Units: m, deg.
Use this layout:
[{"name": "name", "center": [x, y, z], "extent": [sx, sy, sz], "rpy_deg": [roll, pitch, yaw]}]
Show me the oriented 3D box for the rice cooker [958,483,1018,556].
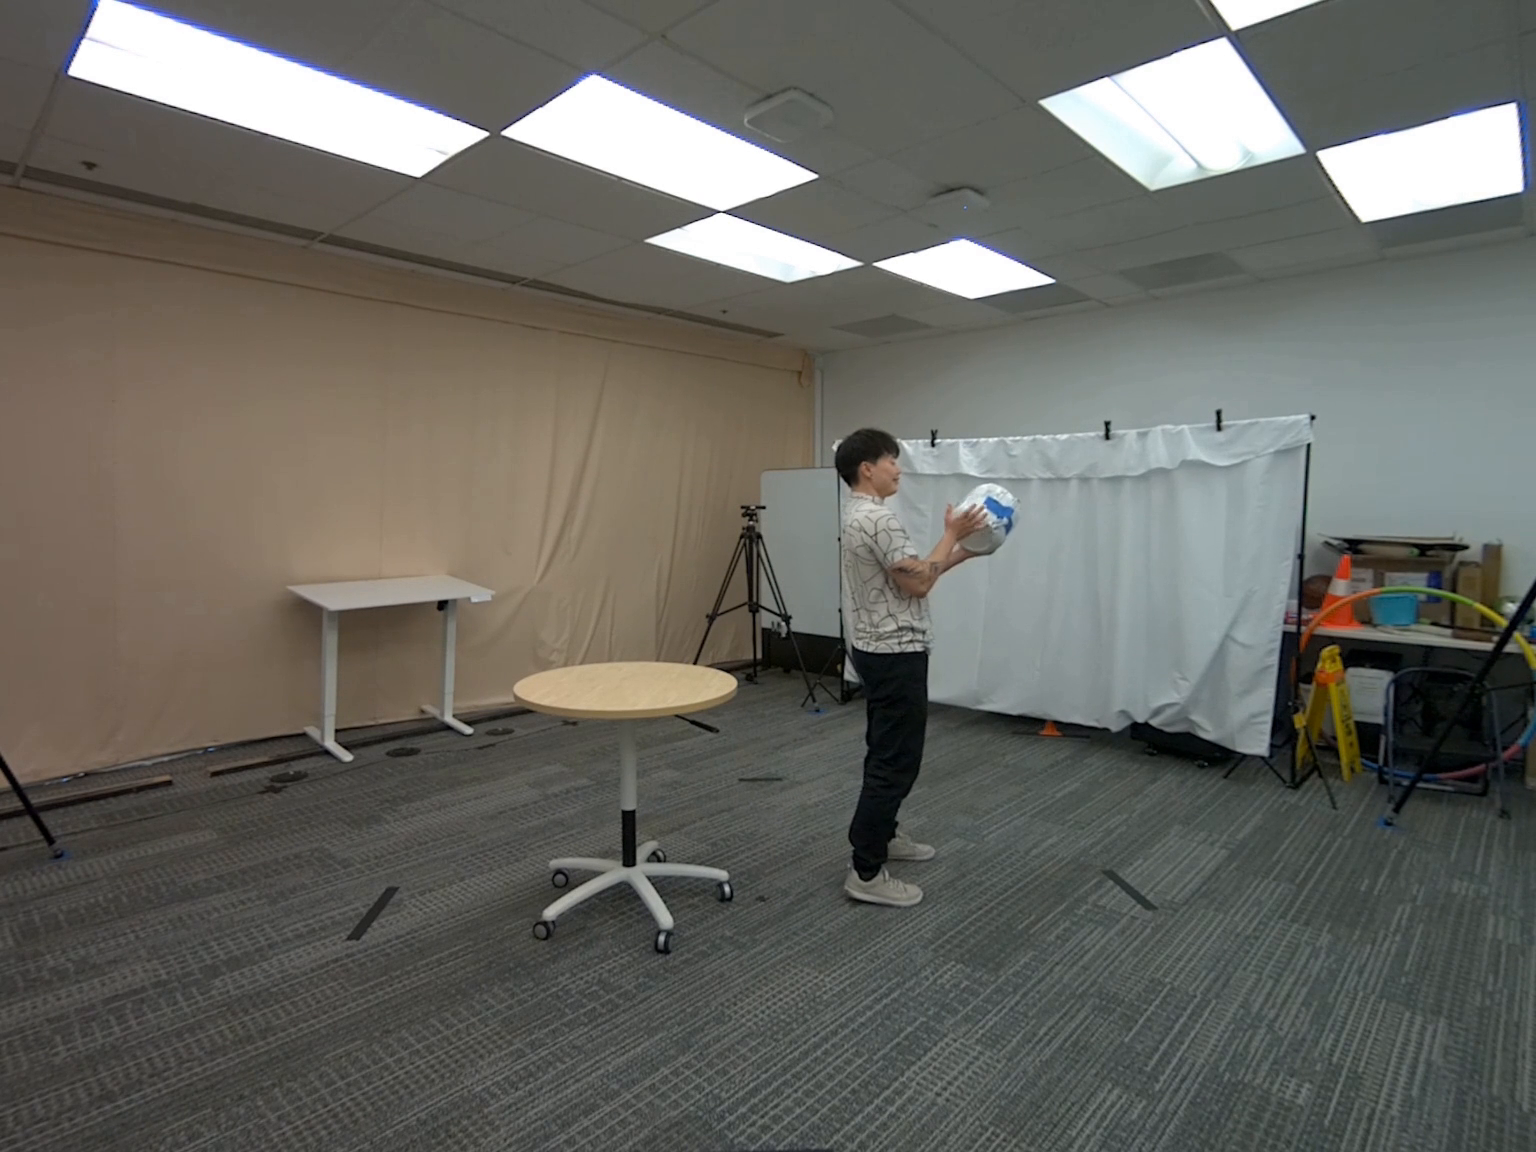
[{"name": "rice cooker", "center": [0.817, -0.223, 3.148], "extent": [0.224, 0.216, 0.230], "rpy_deg": [28, 51, 28]}]
